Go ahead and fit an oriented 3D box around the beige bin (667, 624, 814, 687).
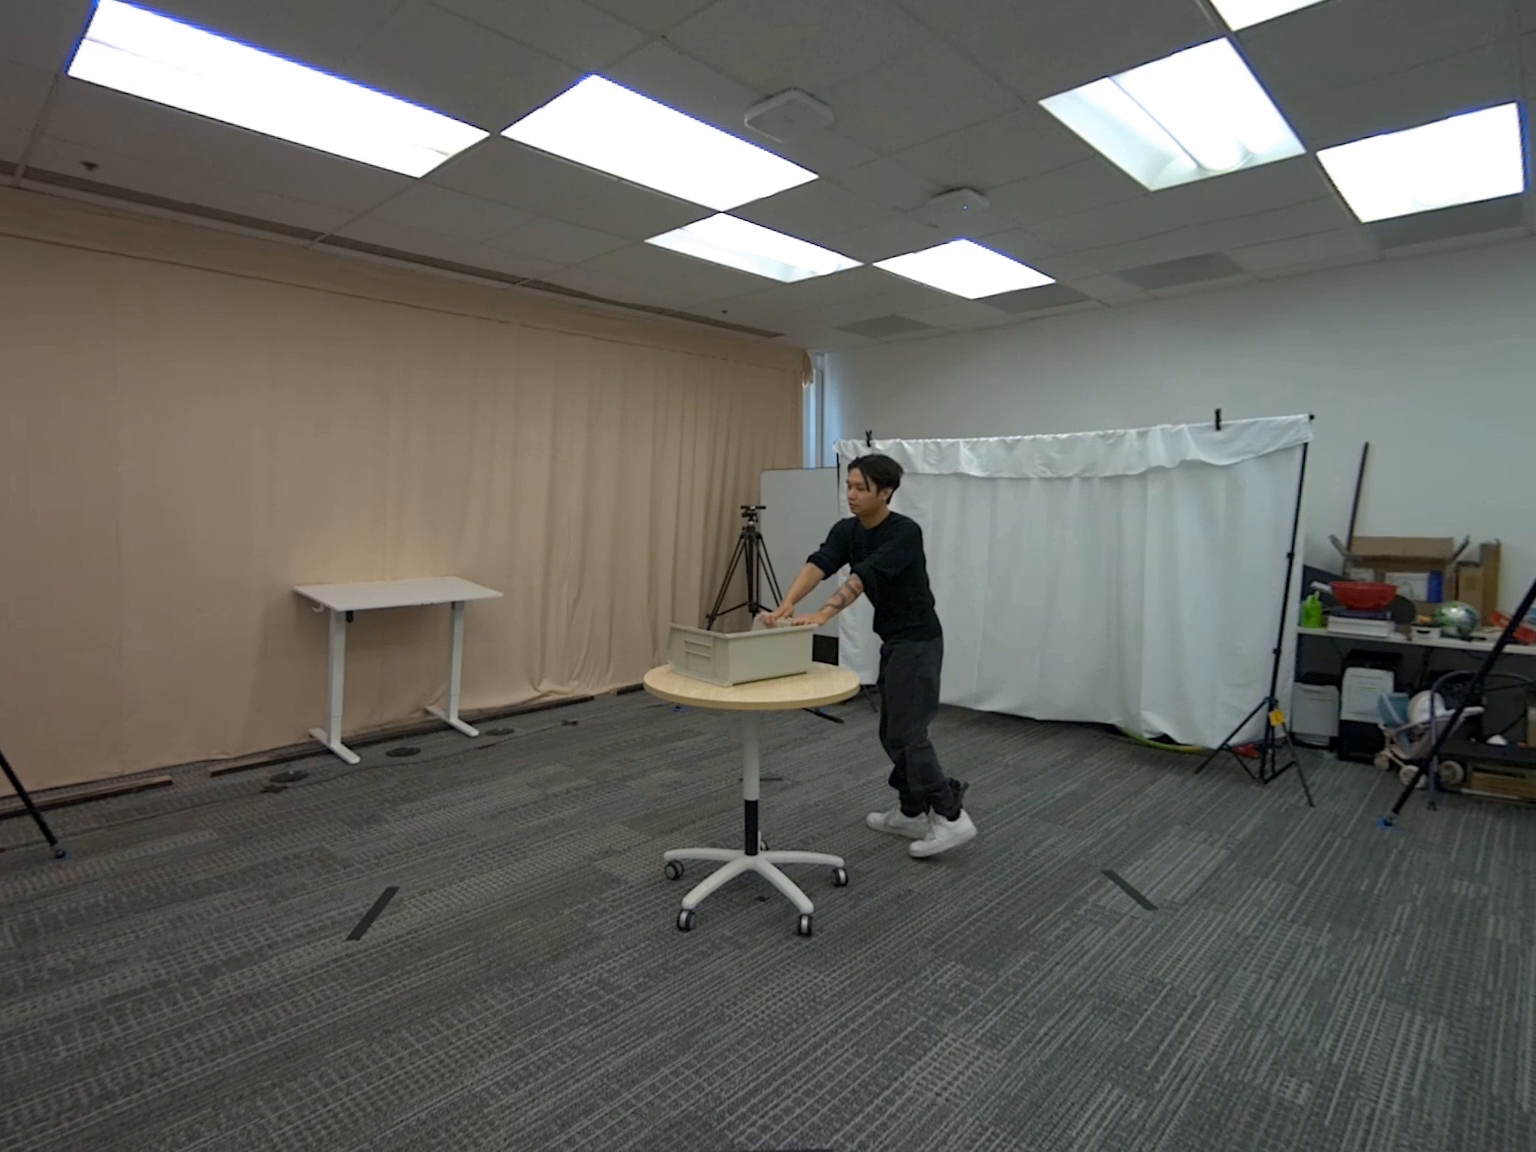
[{"bbox_3d":[-0.101,0.260,3.073,0.410,0.188,0.390,-3,7,-38],"label":"beige bin"}]
